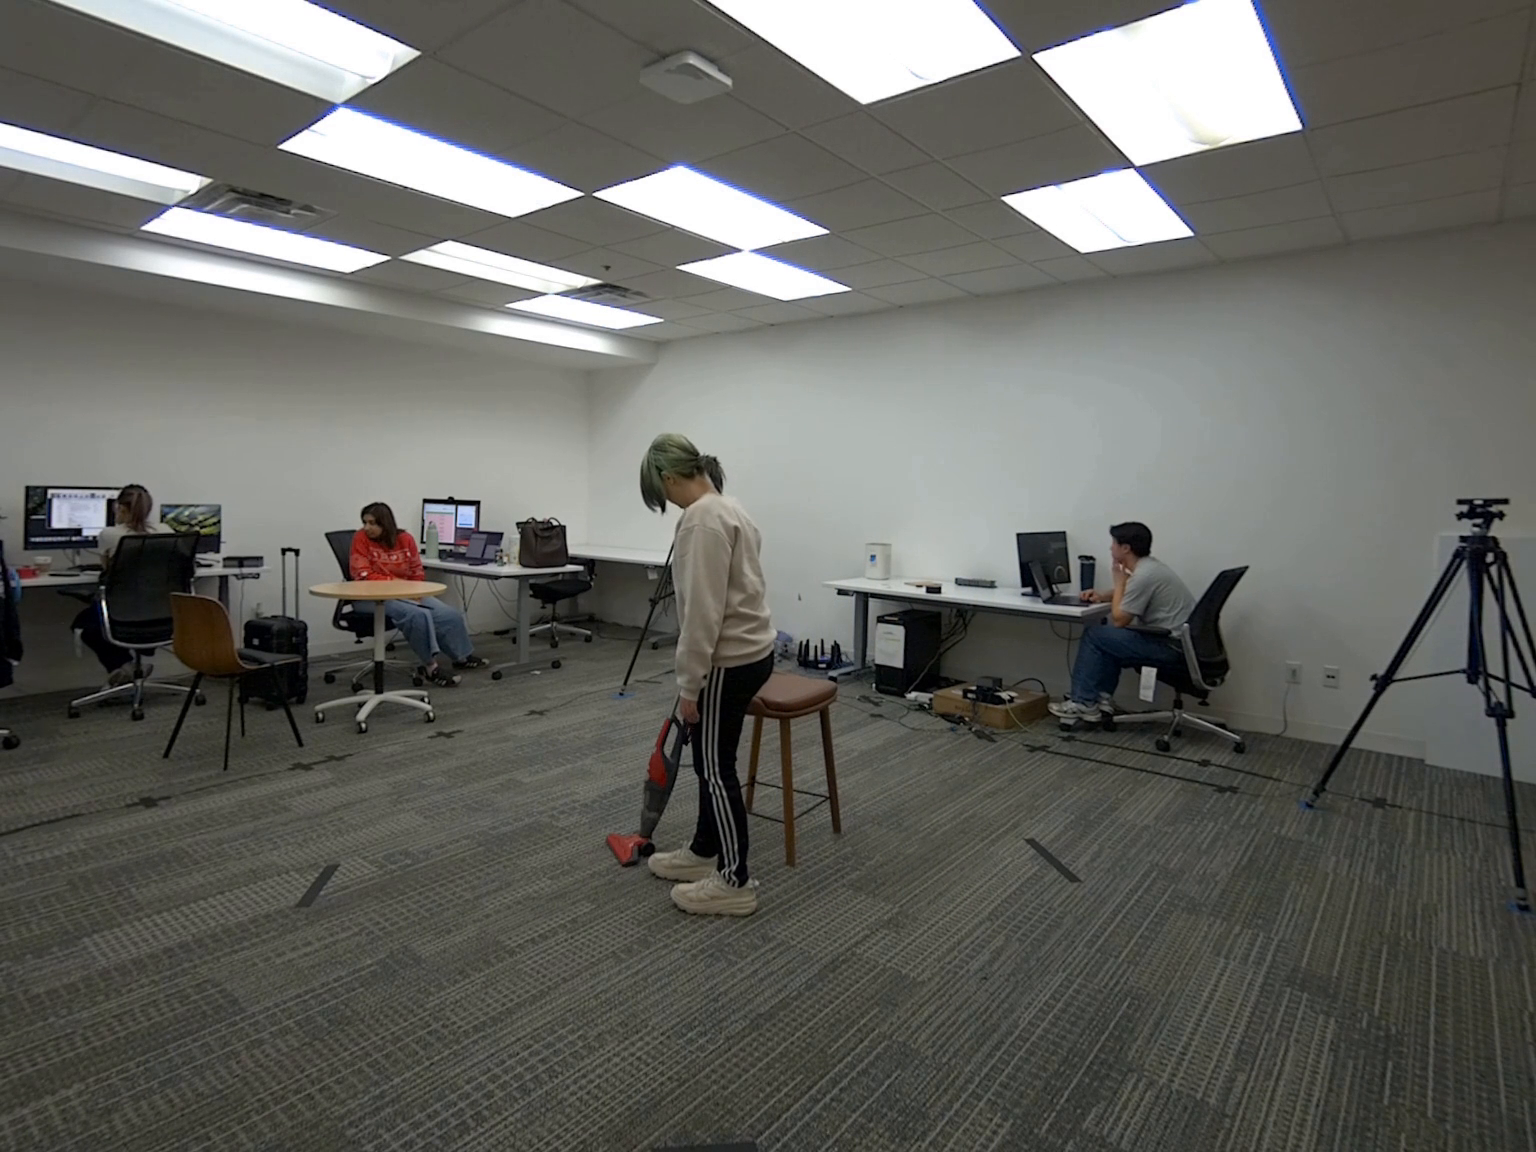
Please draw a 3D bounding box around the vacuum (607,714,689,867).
[{"bbox_3d":[-0.364,0.559,3.298,0.140,1.053,0.259,22,-6,-26],"label":"vacuum"}]
